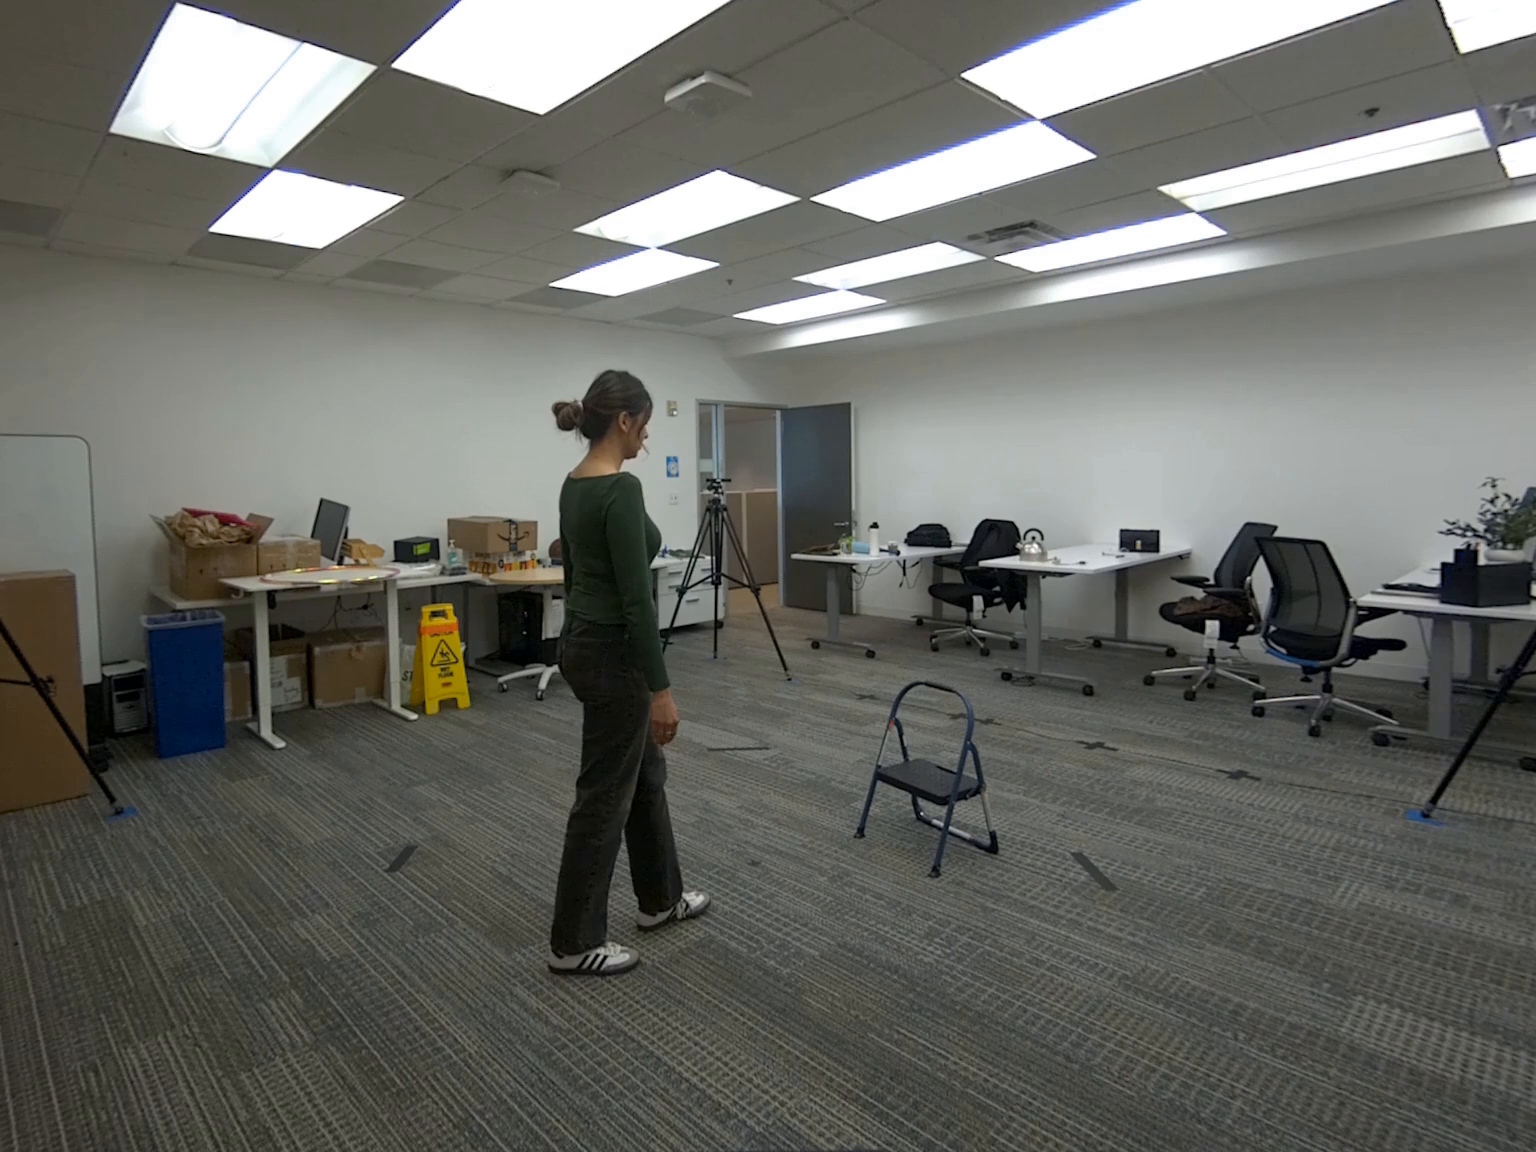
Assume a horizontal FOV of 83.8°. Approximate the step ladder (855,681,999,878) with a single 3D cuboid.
[{"bbox_3d":[0.594,0.717,3.217,0.340,0.604,0.443,-3,5,-34],"label":"step ladder"}]
